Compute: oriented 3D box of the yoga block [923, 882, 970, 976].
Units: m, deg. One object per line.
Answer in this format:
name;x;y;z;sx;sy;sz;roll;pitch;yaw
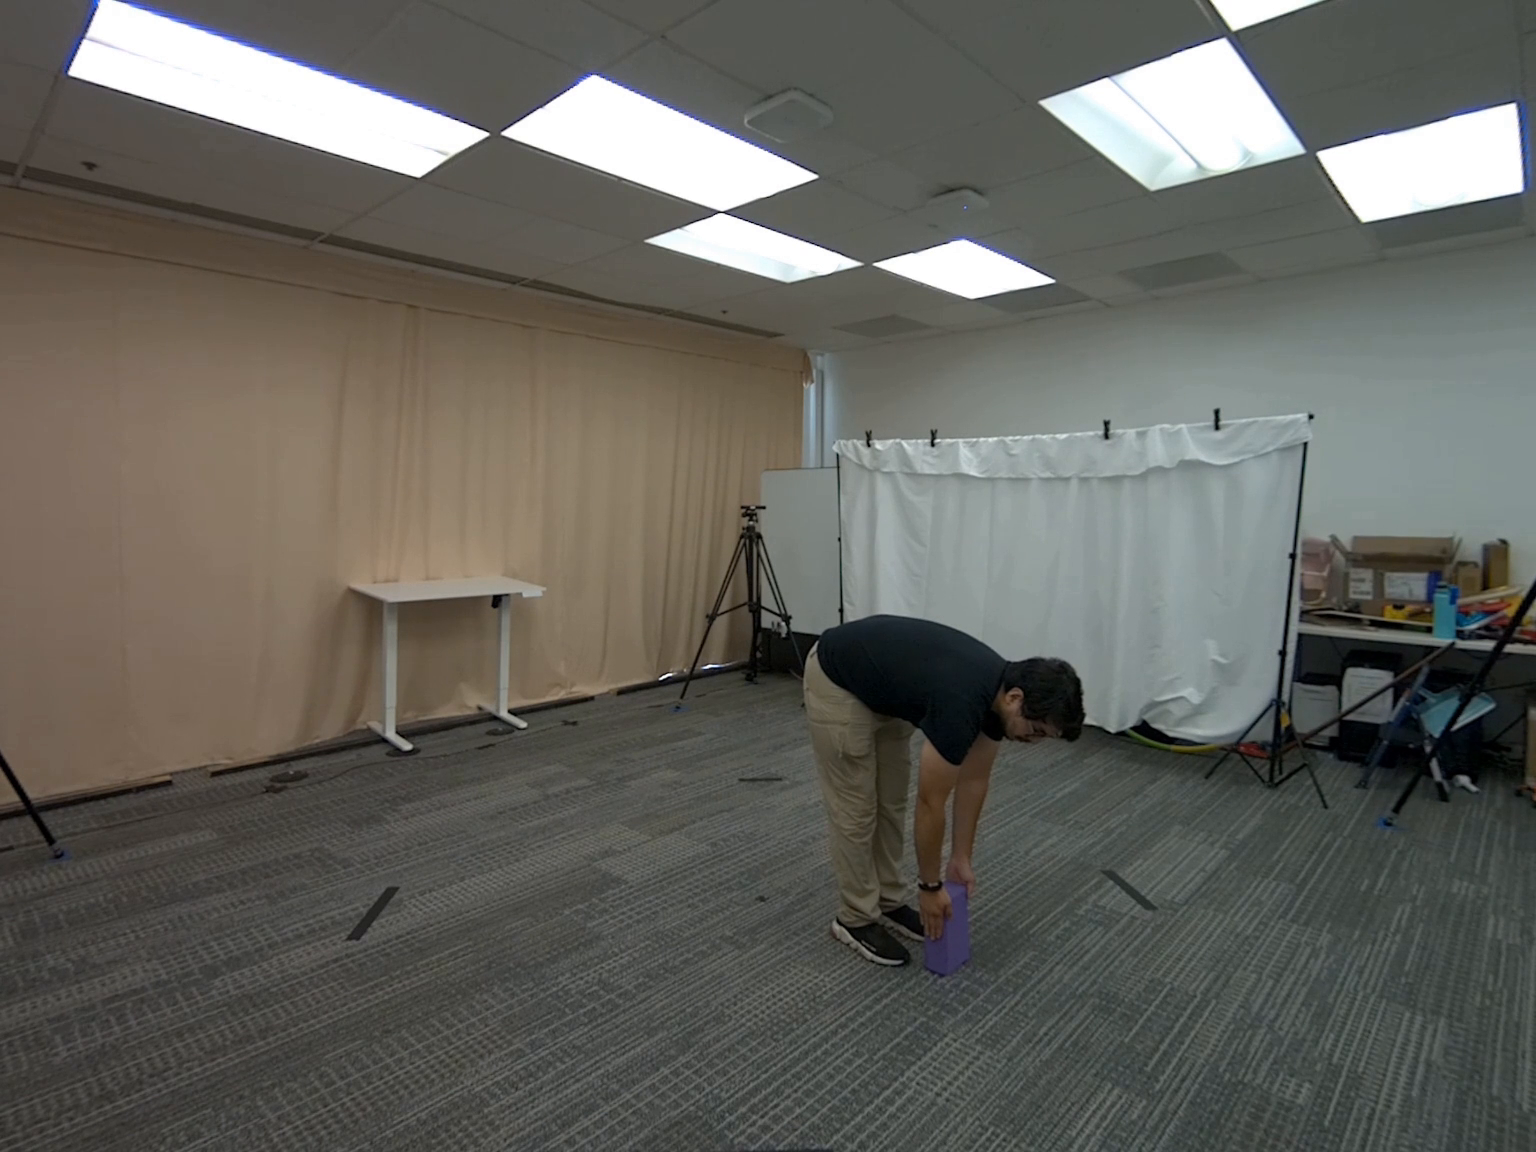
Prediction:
yoga block;0.551;1.066;2.546;0.144;0.229;0.079;-4;5;-45
